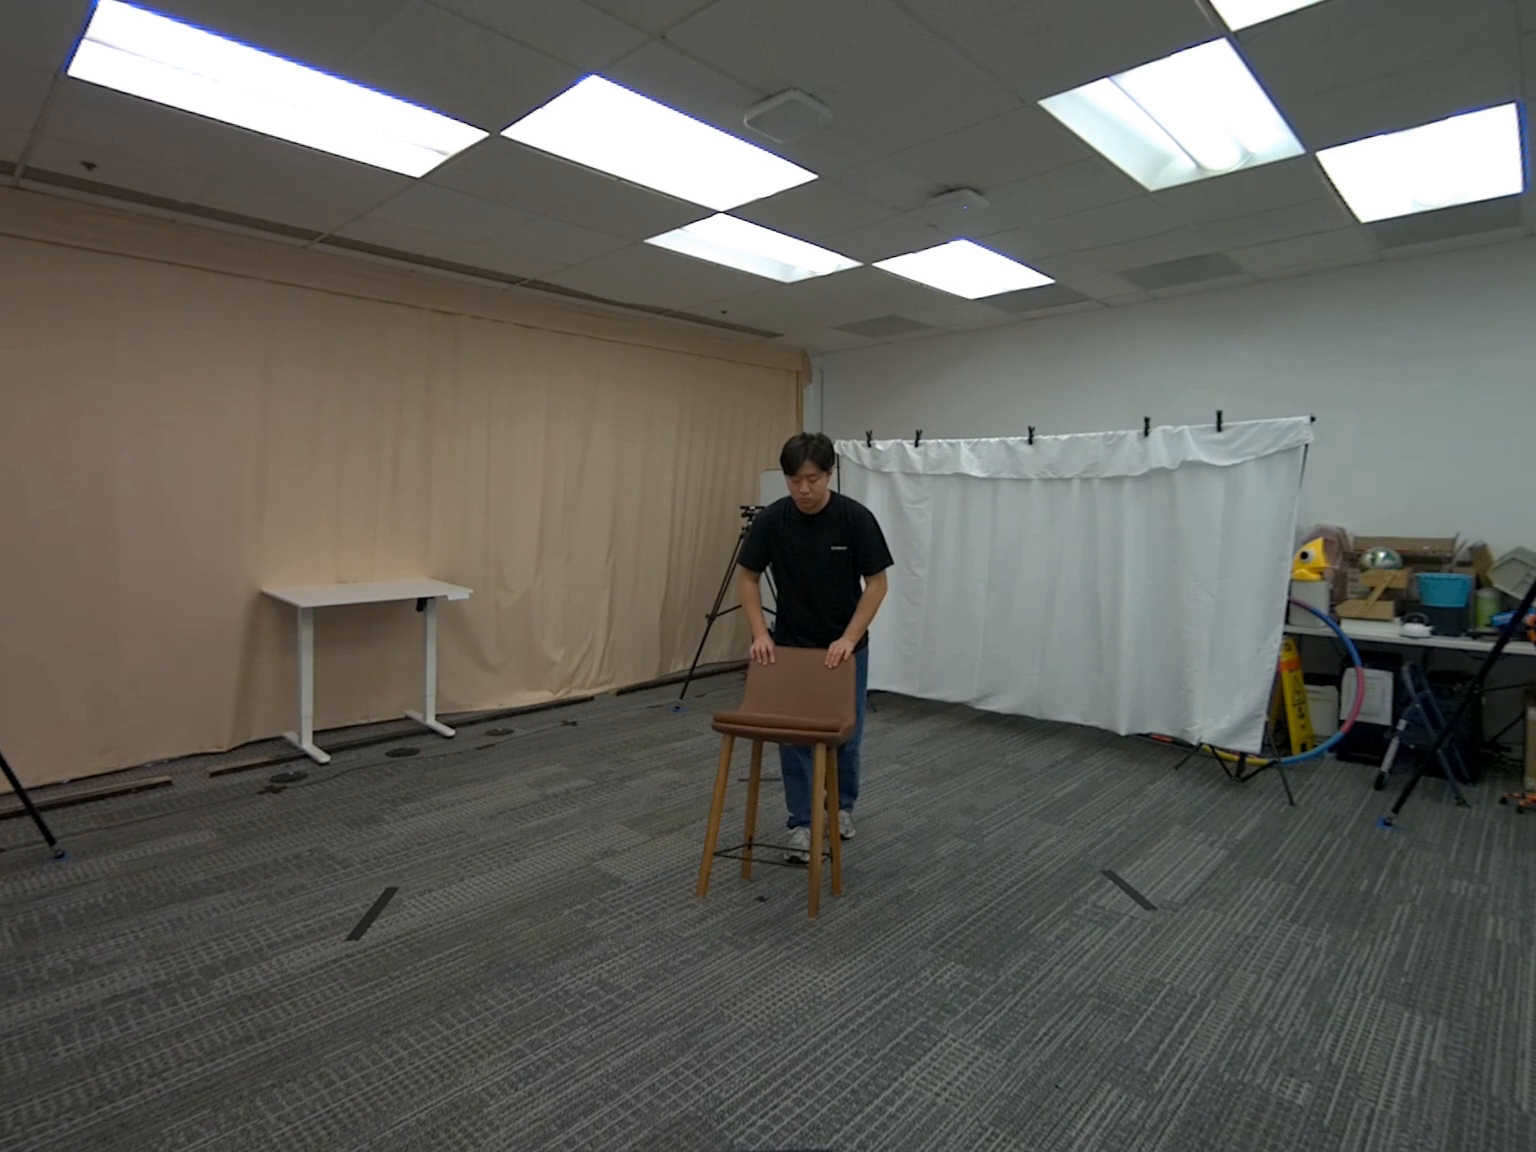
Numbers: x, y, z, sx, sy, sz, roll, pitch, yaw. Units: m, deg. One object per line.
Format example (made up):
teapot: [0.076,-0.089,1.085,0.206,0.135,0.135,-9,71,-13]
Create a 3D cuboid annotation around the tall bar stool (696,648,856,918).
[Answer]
tall bar stool: [0.058,0.675,2.962,0.466,0.895,0.455,1,-13,20]
